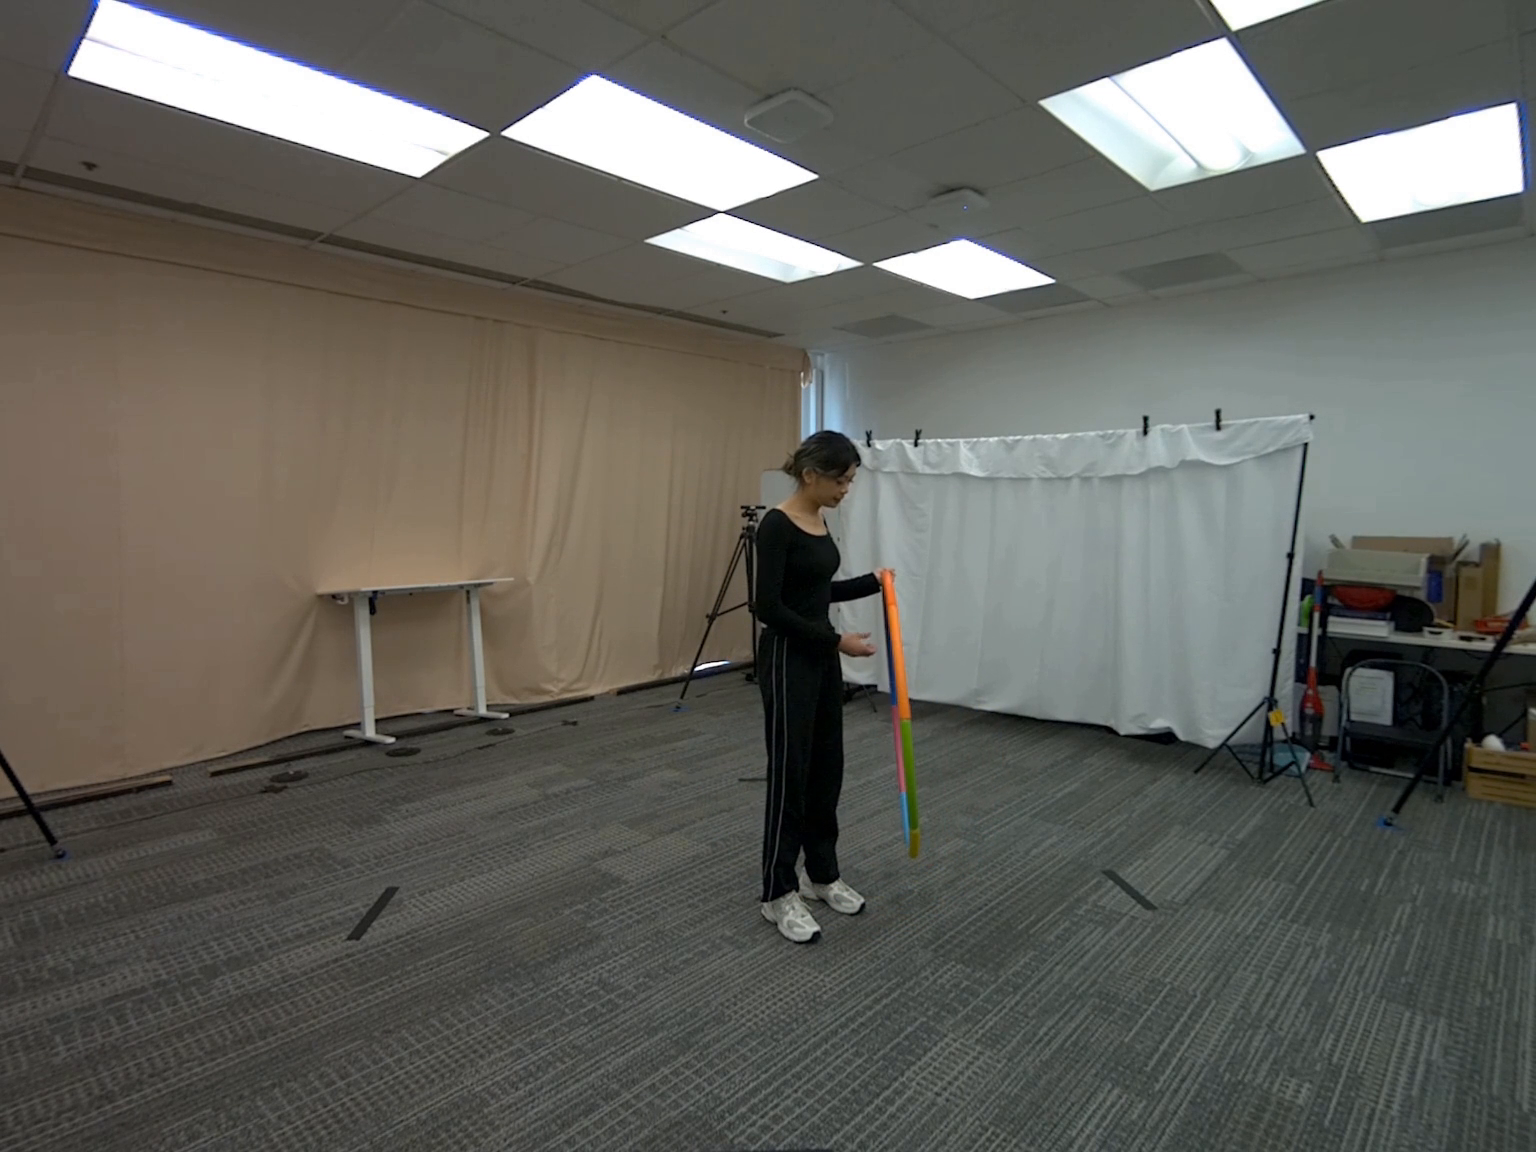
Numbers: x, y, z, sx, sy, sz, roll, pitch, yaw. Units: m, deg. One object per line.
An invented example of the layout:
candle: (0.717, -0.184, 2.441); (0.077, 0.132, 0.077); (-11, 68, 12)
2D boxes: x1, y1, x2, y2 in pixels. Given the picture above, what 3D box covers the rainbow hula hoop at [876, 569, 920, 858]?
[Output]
rainbow hula hoop: (0.475, 0.481, 2.998); (0.036, 0.977, 0.971); (-5, 3, 7)
